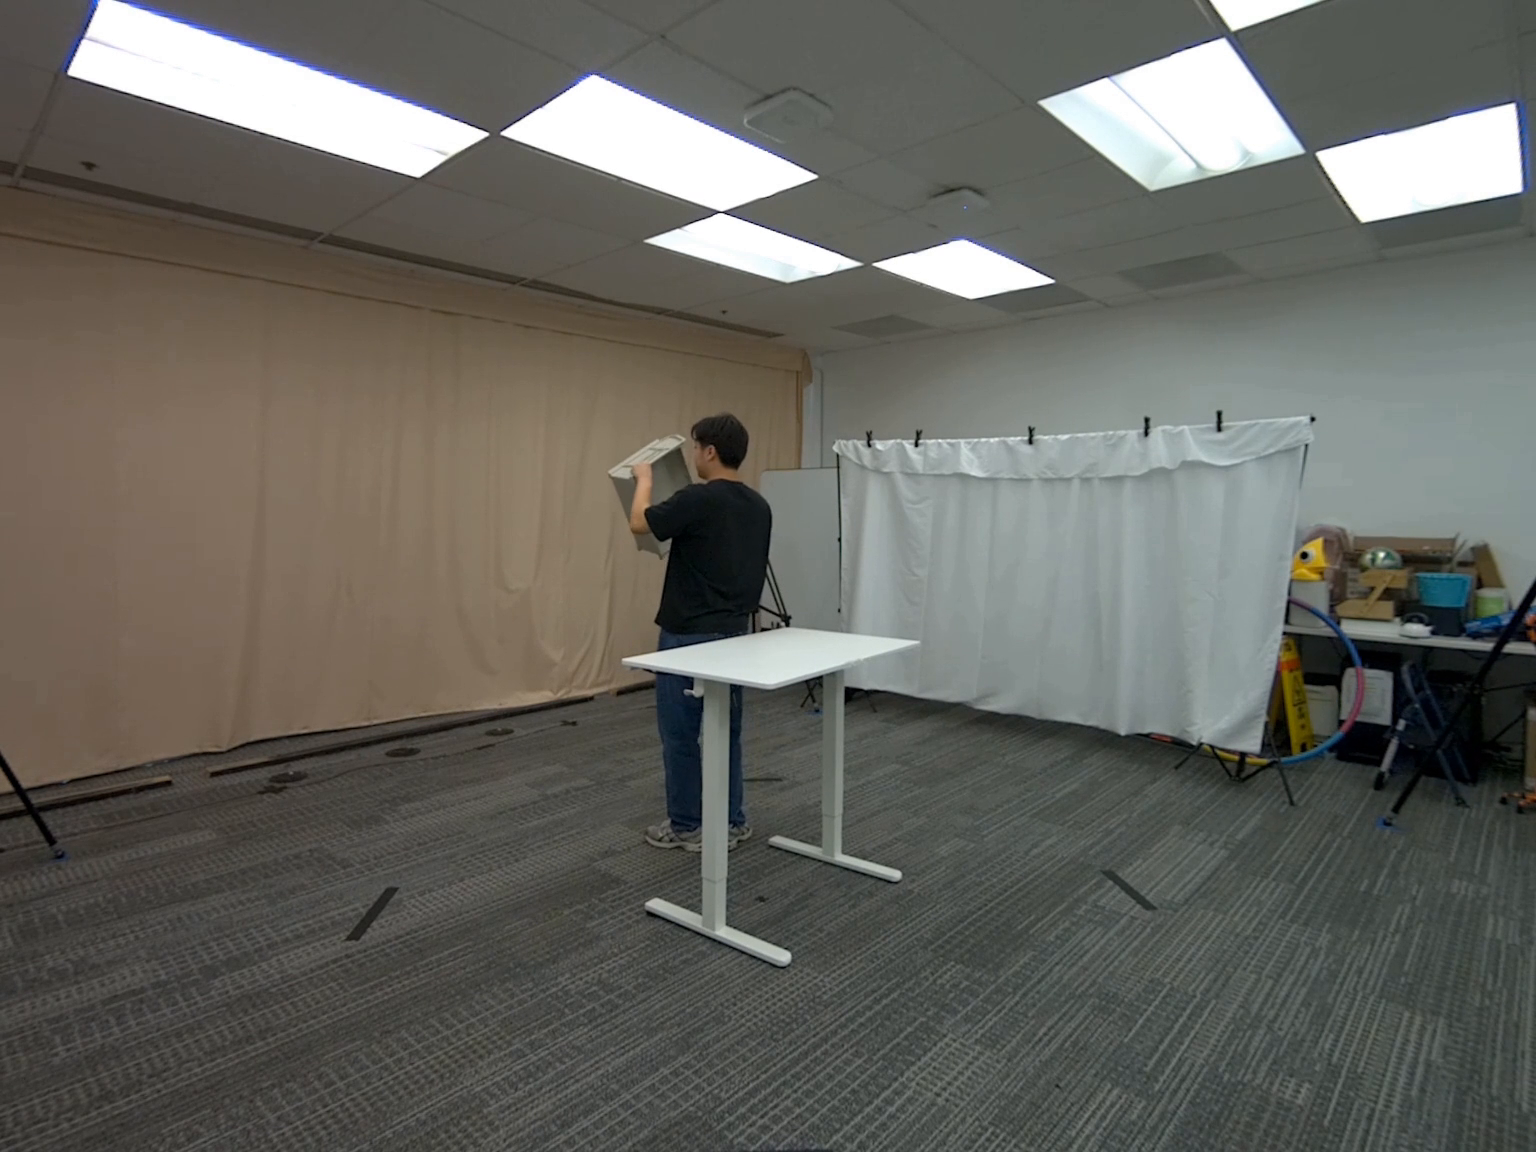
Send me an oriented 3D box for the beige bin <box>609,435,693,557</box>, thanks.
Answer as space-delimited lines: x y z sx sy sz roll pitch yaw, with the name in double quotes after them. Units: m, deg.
-0.466 -0.359 3.773 0.196 0.412 0.373 14 42 43 "beige bin"
